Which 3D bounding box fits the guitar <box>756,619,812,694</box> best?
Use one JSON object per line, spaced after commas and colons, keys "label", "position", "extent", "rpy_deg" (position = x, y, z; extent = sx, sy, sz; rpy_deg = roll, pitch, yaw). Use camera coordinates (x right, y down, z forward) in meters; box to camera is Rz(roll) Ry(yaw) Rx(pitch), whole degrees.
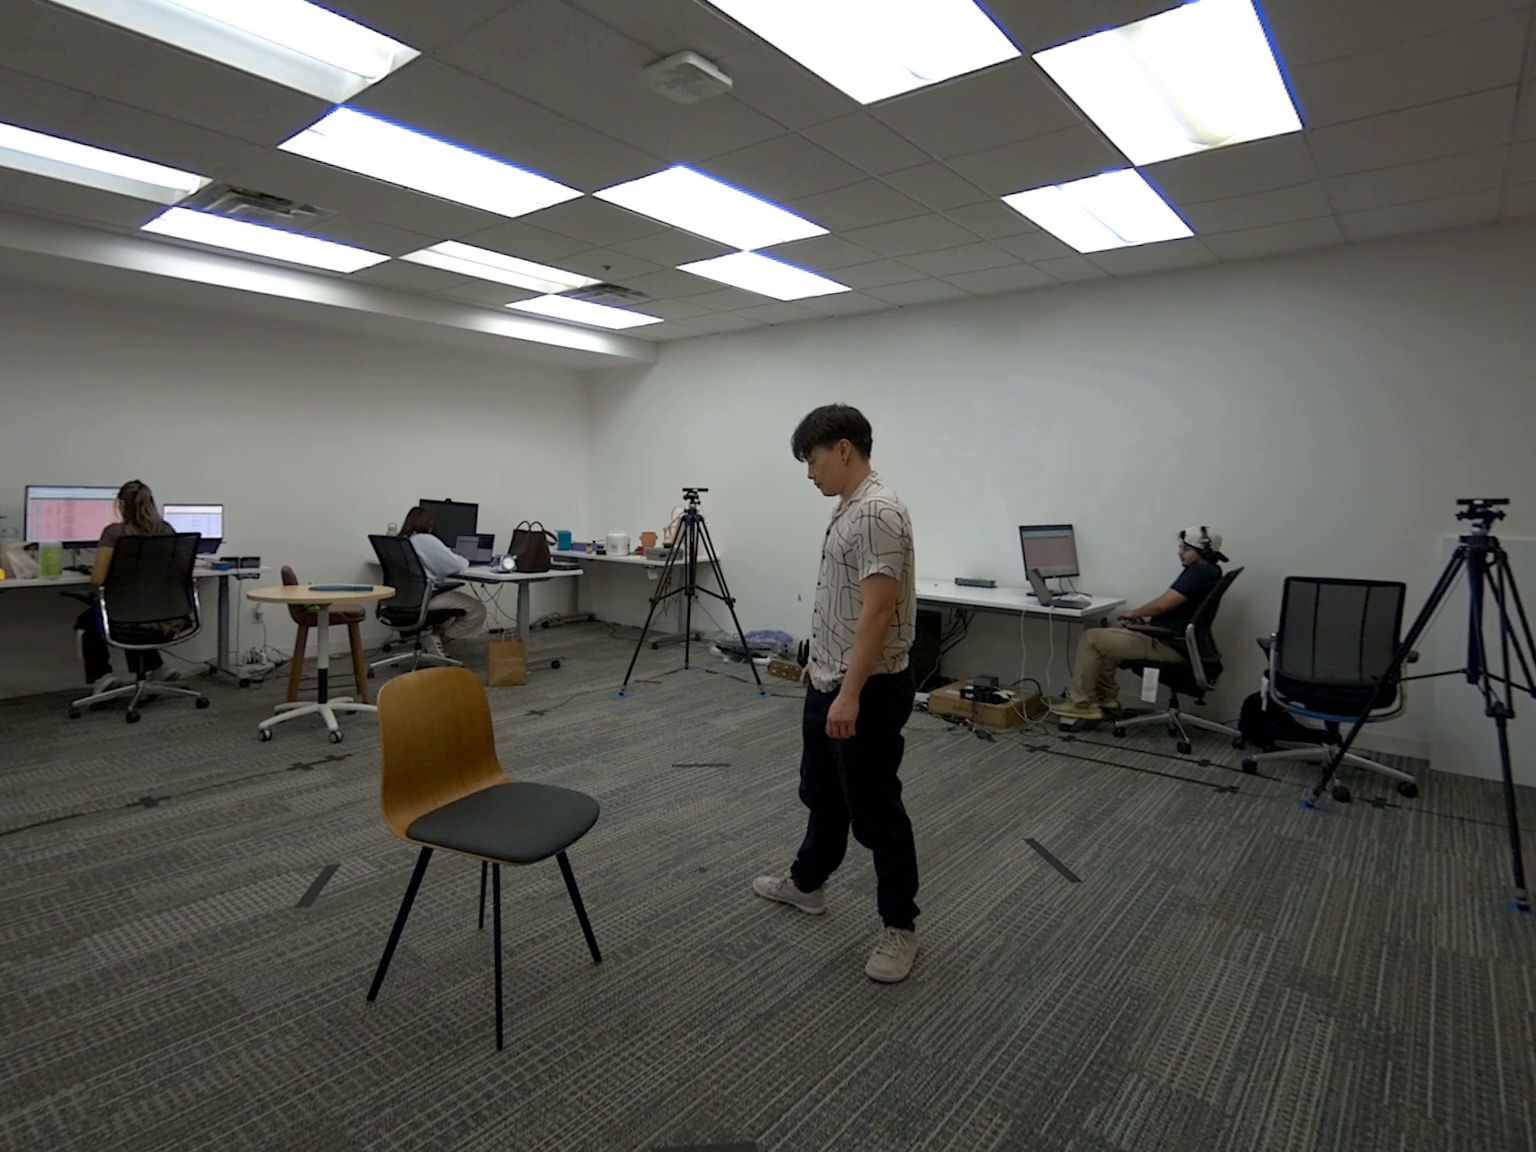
{"label": "guitar", "position": [0.226, 0.339, 2.923], "extent": [0.490, 0.193, 0.072], "rpy_deg": [24, -2, -11]}
